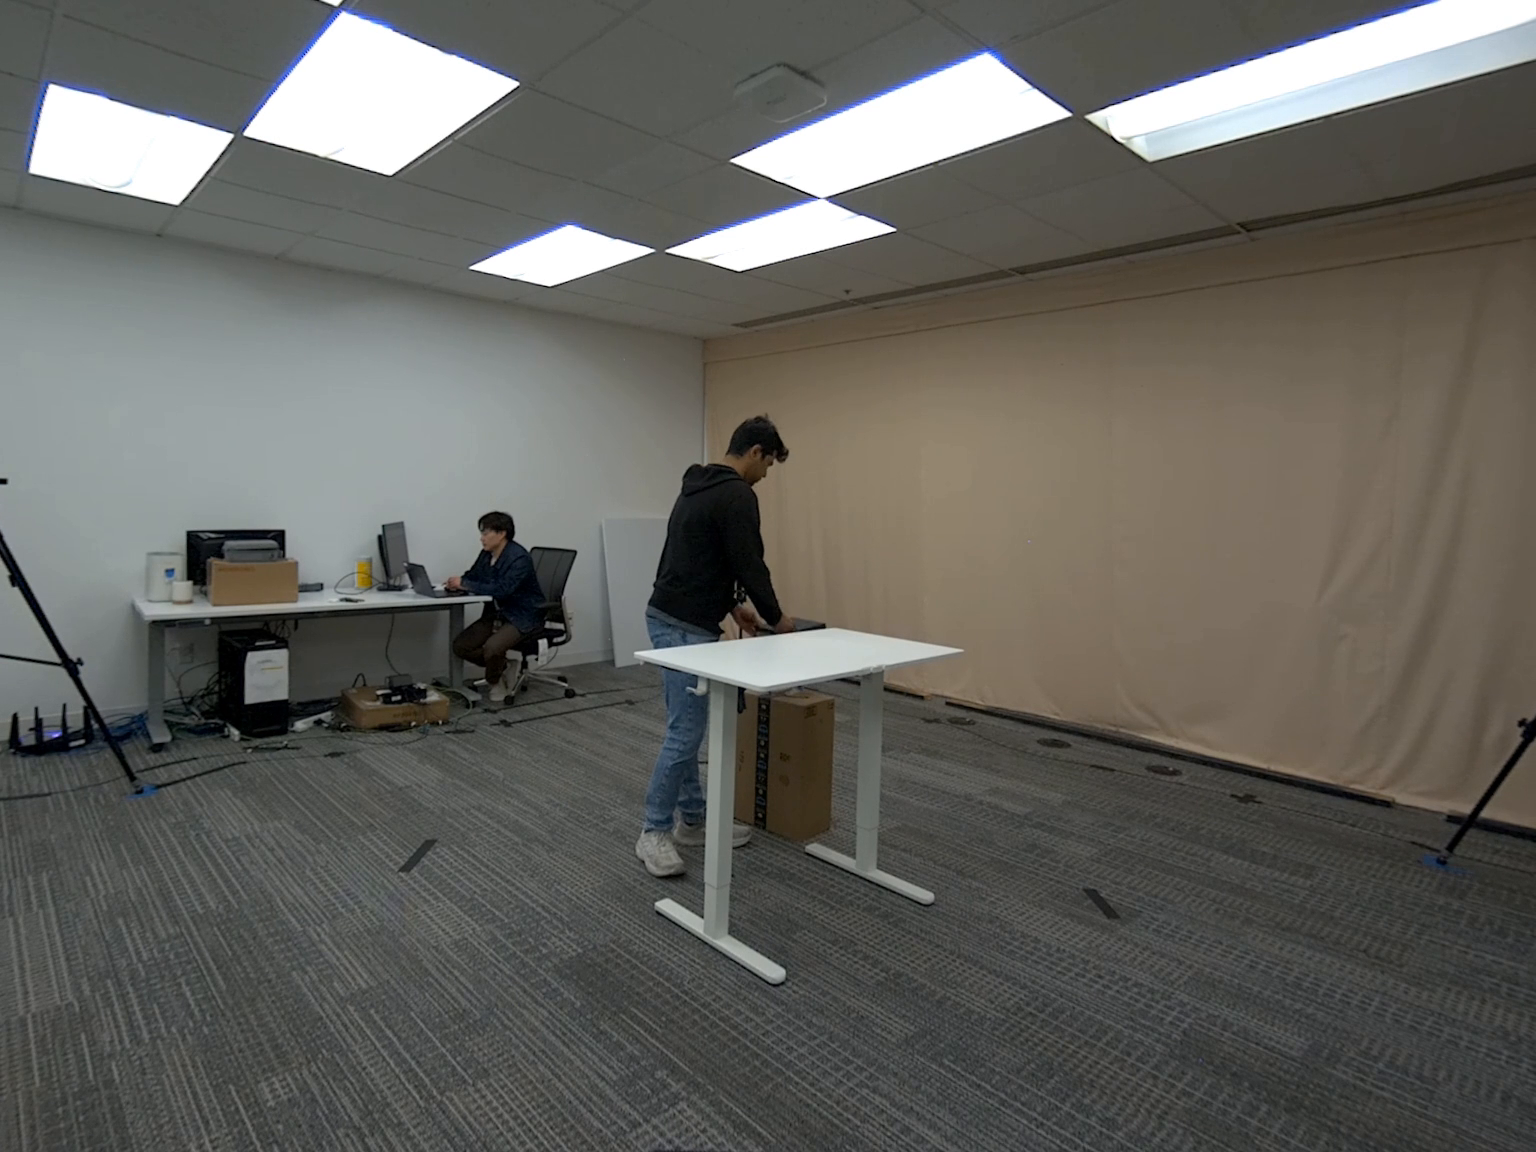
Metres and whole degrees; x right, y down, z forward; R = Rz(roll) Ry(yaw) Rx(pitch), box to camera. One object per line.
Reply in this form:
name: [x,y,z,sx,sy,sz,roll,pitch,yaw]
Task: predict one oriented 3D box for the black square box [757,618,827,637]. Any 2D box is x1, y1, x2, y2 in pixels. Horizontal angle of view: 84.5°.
black square box: [0.099,0.282,3.603,0.213,0.155,0.233,-11,11,-35]
